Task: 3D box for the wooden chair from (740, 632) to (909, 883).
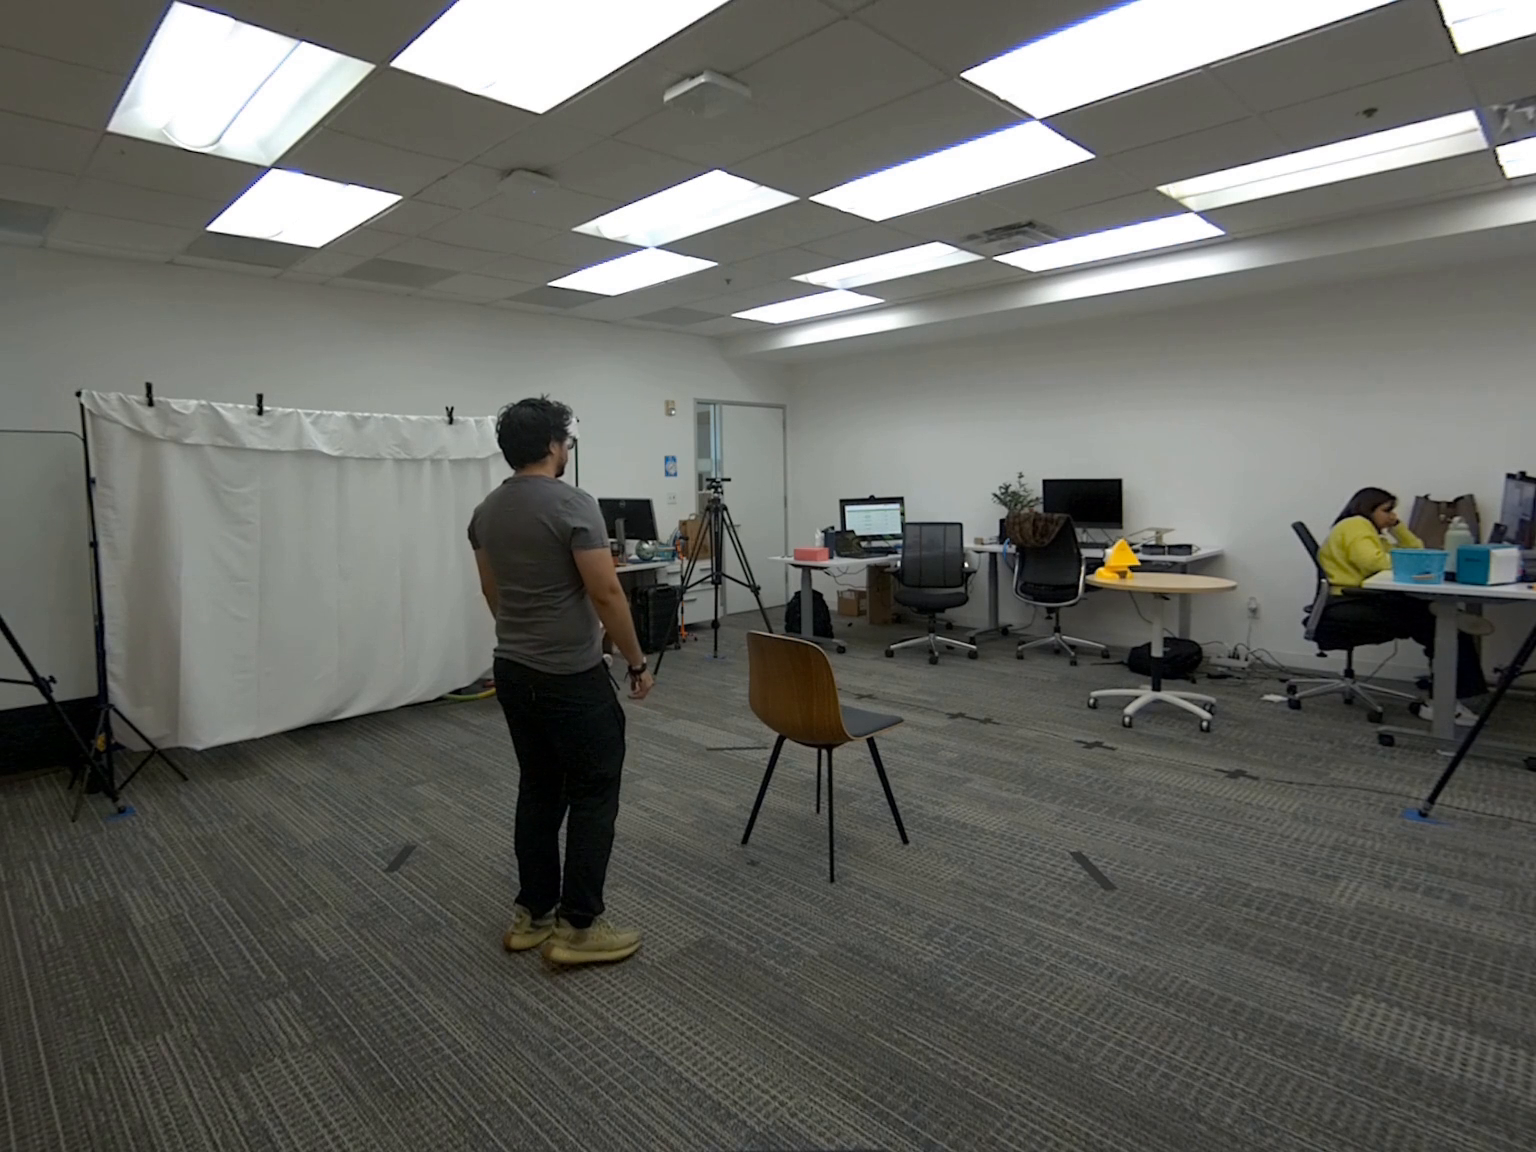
[{"bbox_3d":[0.216,0.598,3.227,0.511,0.871,0.493,-11,10,-44],"label":"wooden chair"}]
